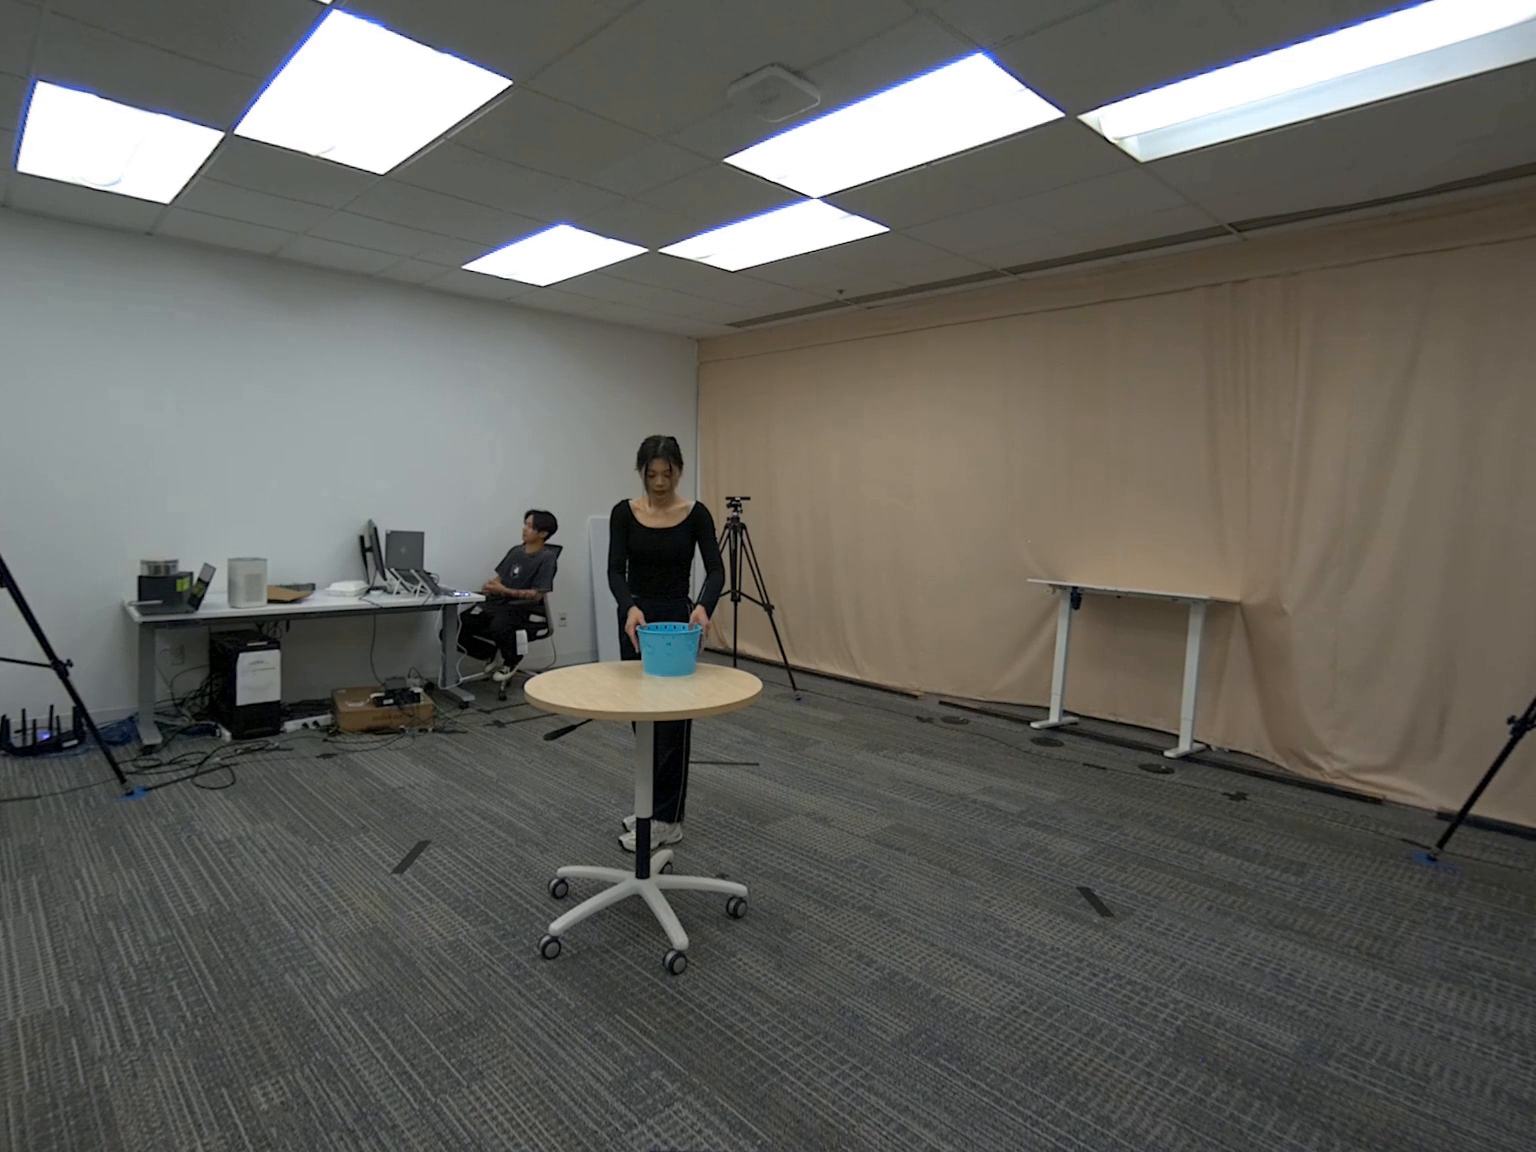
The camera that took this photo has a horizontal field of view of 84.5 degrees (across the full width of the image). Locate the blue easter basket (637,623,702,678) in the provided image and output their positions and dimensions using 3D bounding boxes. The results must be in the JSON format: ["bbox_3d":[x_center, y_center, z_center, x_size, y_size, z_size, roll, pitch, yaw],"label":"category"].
[{"bbox_3d":[-0.354,0.259,2.931,0.243,0.155,0.244,0,5,-1],"label":"blue easter basket"}]
